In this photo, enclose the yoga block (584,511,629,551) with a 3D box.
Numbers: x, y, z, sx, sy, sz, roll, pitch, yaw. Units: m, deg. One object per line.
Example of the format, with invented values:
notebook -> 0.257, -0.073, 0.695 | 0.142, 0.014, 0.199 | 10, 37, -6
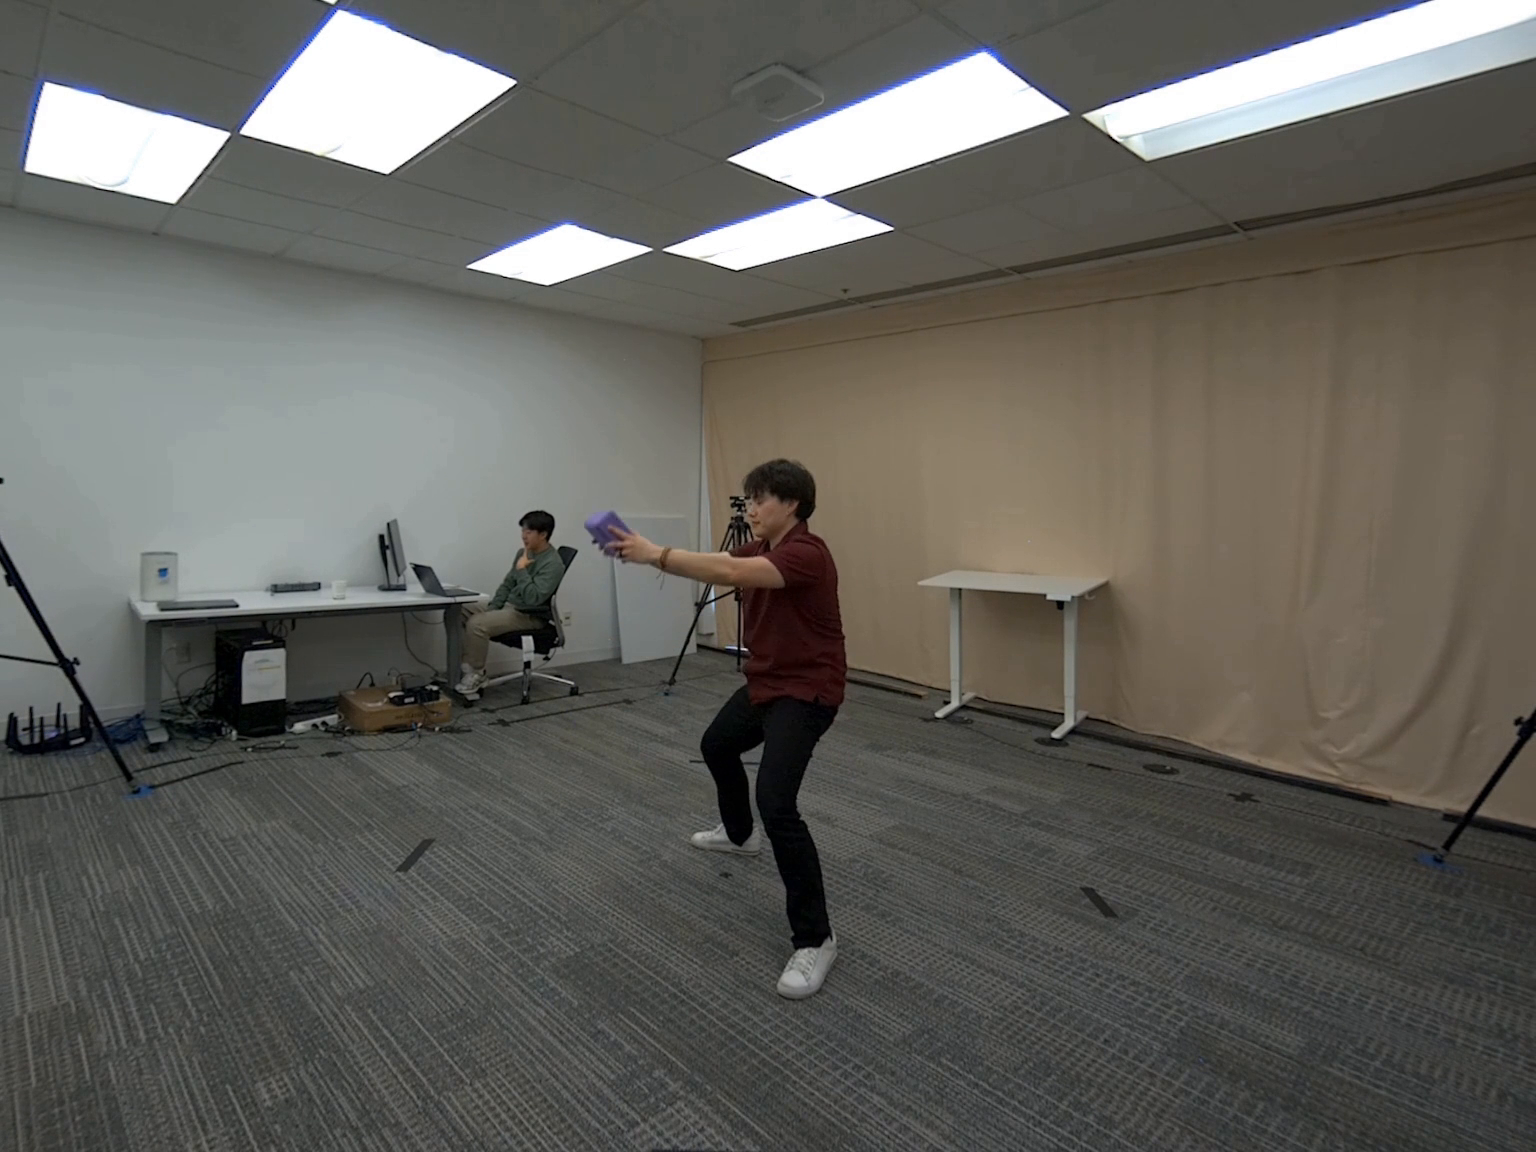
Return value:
yoga block -> -0.501, -0.132, 2.691 | 0.076, 0.147, 0.233 | -41, 14, -11
